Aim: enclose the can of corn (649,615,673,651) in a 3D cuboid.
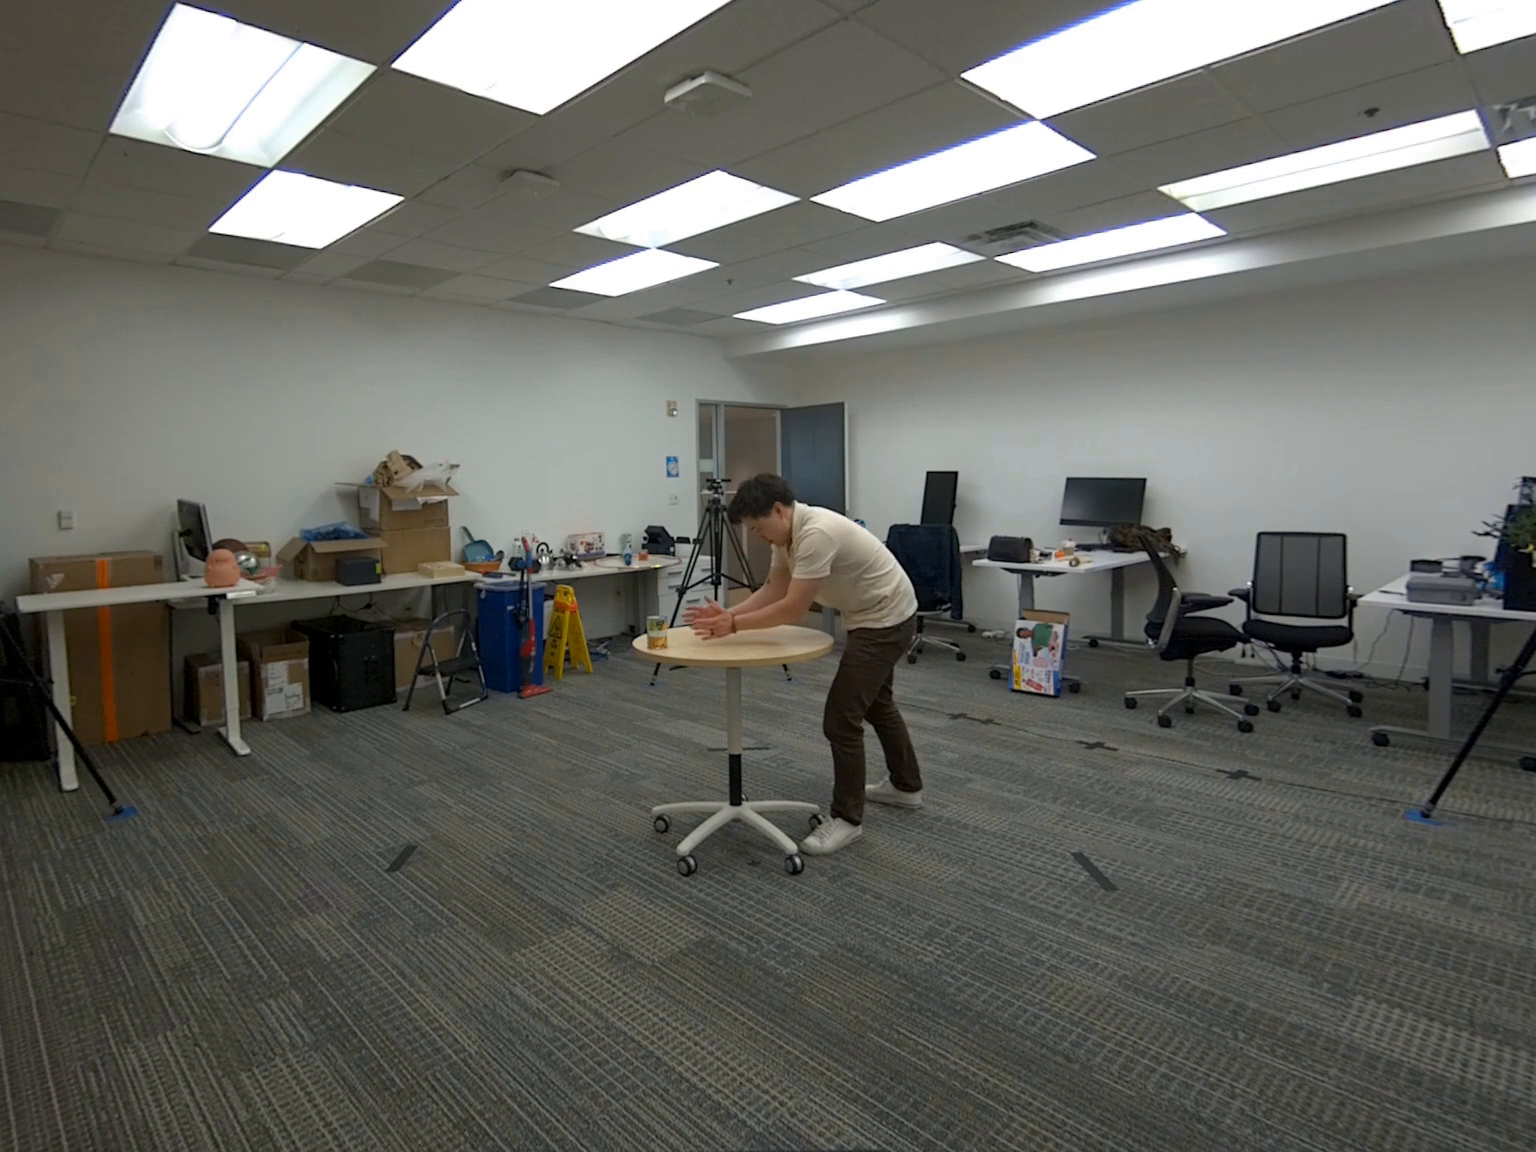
[{"bbox_3d":[-0.391,0.207,3.121,0.074,0.110,0.074,-2,6,-1],"label":"can of corn"}]
